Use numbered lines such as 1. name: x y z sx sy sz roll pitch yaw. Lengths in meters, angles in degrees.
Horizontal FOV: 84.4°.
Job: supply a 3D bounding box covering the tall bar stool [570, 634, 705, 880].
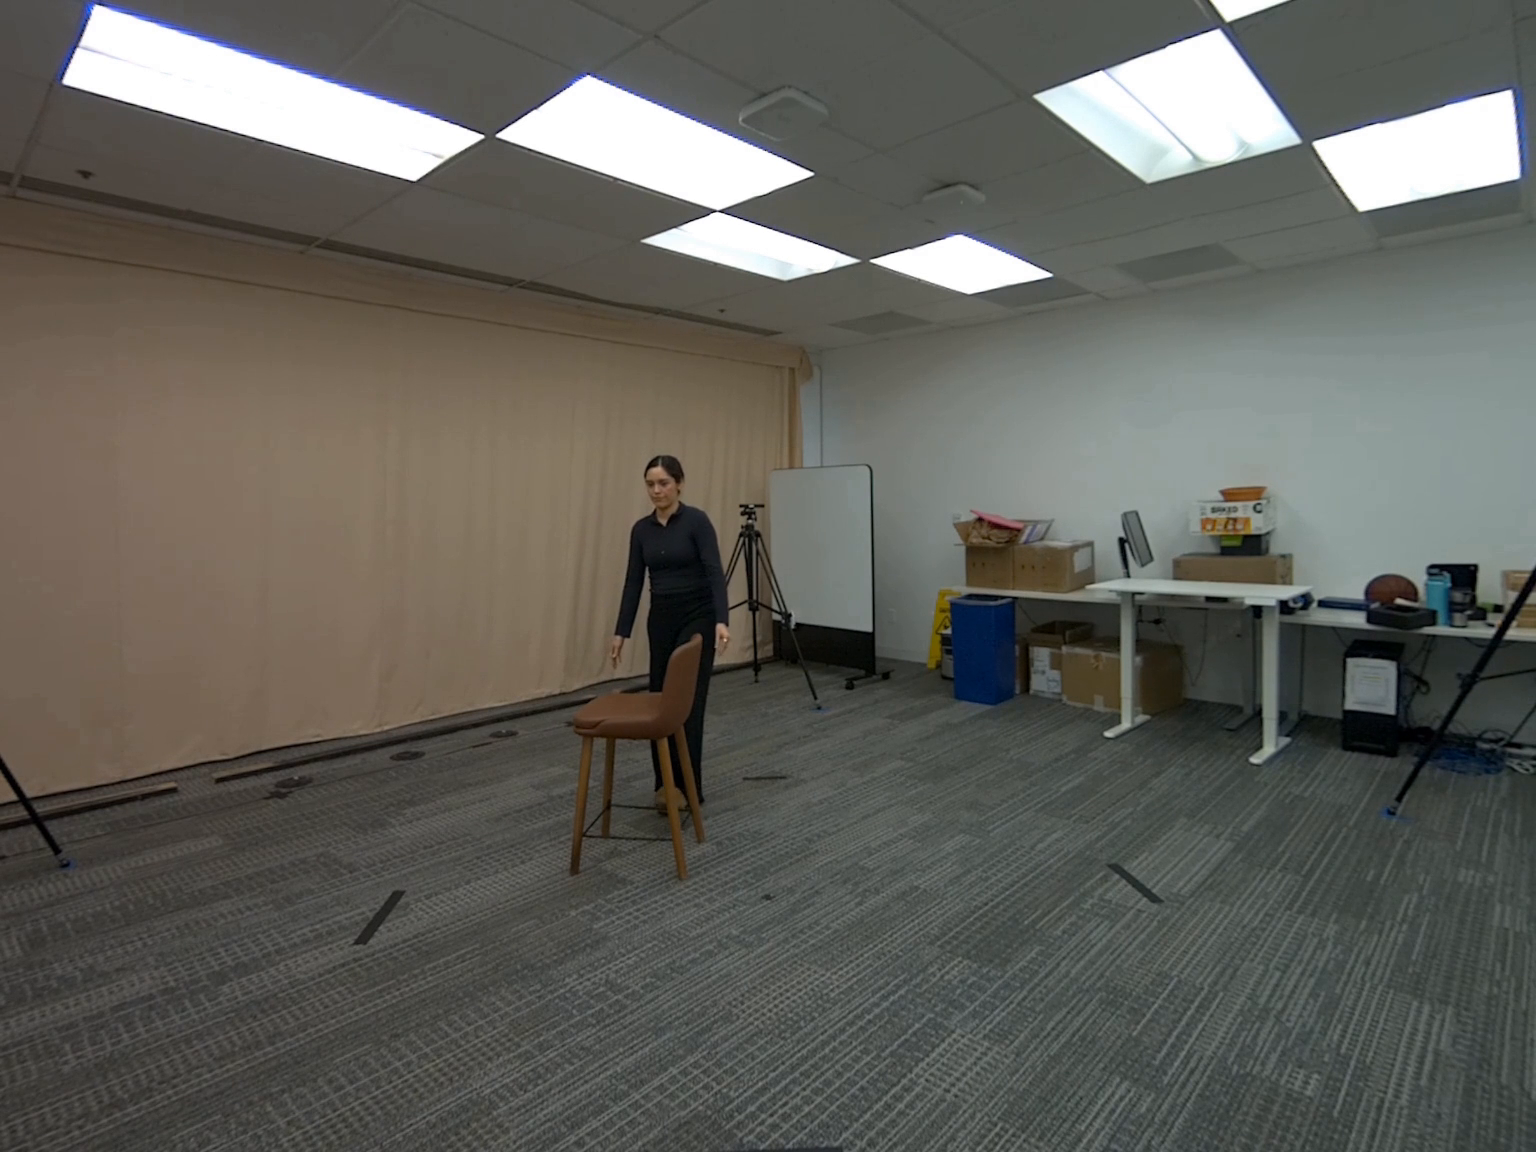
1. tall bar stool: -0.512 0.686 3.339 0.473 0.888 0.452 0 3 10
